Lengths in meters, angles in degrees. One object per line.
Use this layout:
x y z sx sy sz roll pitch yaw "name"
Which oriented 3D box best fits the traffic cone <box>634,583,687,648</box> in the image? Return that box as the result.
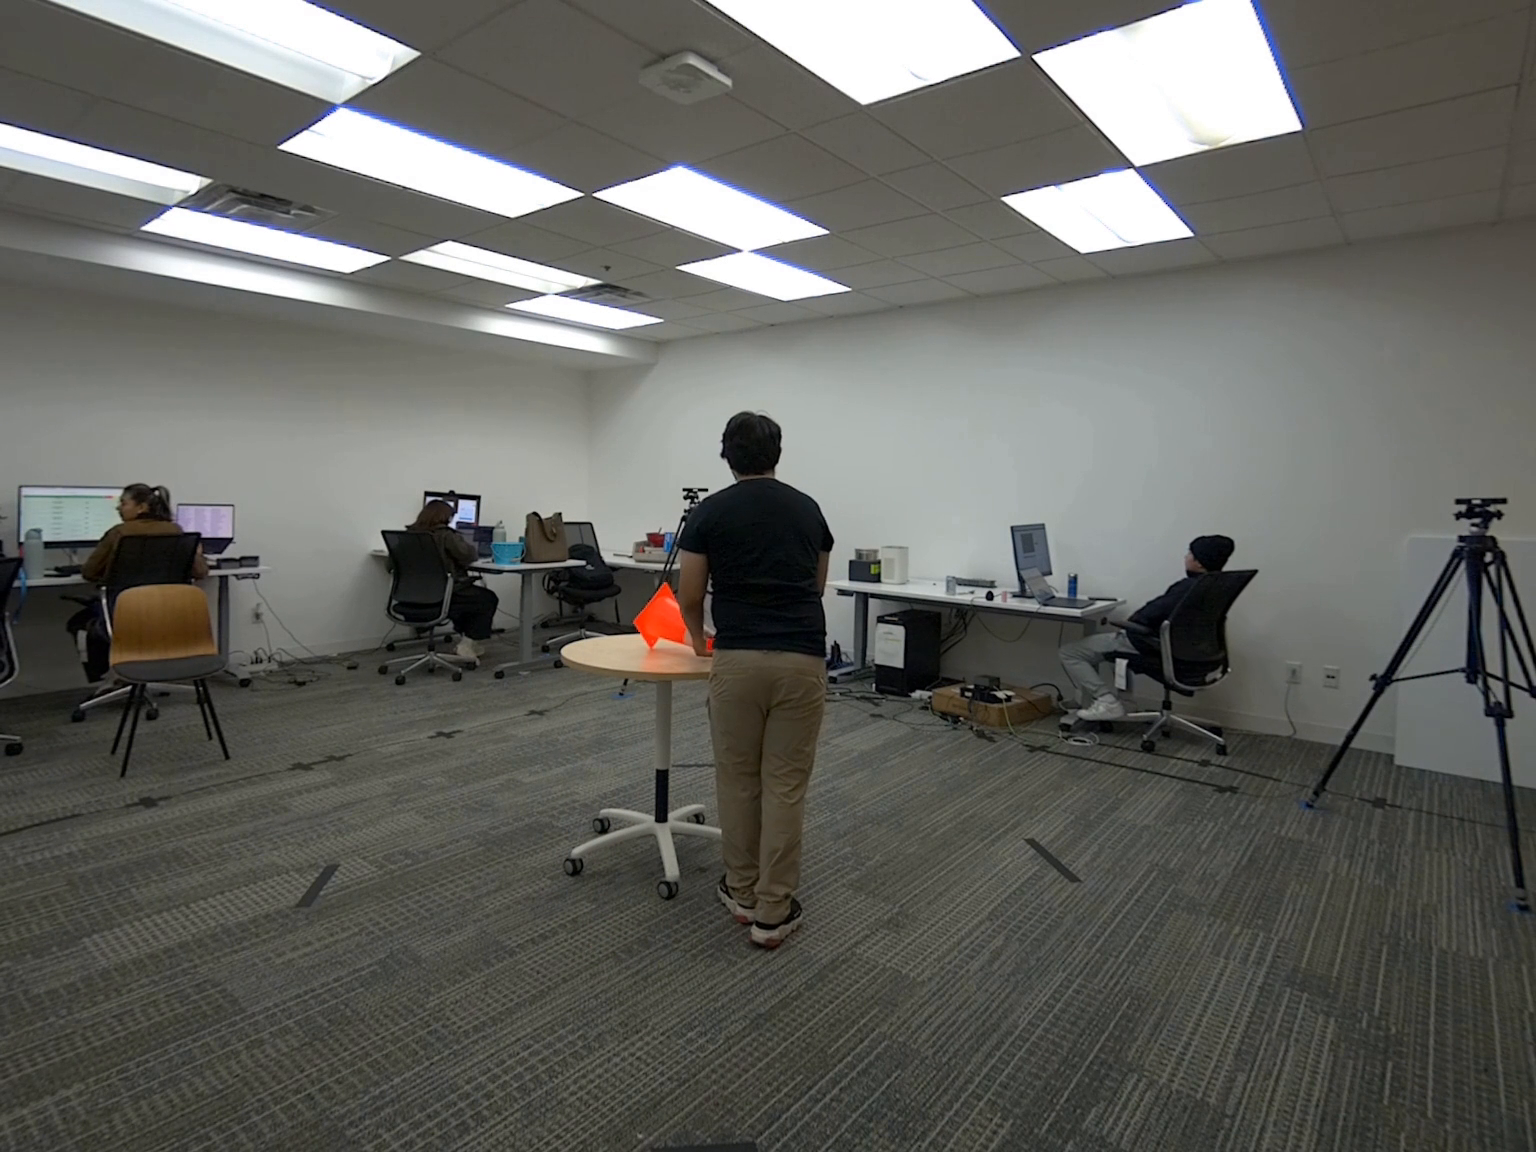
-0.274 0.223 3.085 0.398 0.205 0.196 26 -22 29 "traffic cone"
